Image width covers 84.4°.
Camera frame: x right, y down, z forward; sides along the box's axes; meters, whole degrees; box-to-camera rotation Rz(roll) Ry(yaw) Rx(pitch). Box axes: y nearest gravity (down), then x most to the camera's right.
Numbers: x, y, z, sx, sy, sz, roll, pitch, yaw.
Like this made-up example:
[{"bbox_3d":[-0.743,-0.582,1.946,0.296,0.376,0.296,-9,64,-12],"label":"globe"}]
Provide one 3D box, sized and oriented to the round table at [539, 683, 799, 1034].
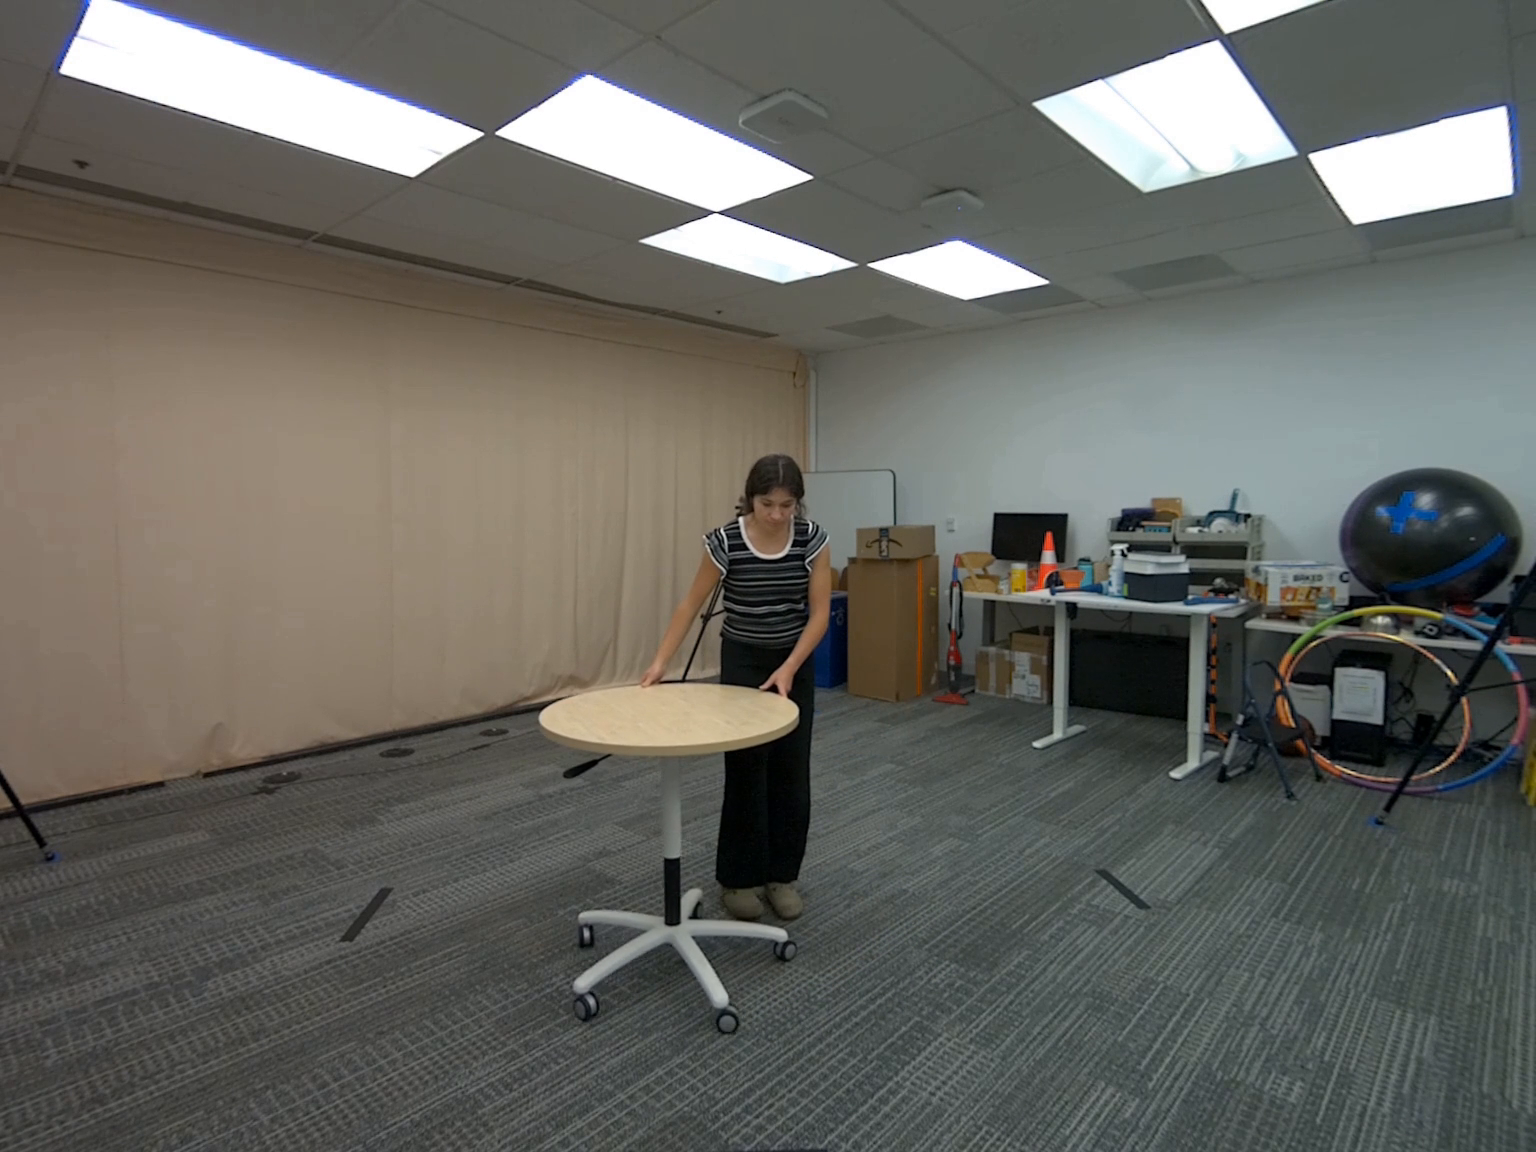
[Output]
[{"bbox_3d":[-0.281,0.788,2.533,0.784,0.785,0.788,-1,4,-2],"label":"round table"}]
